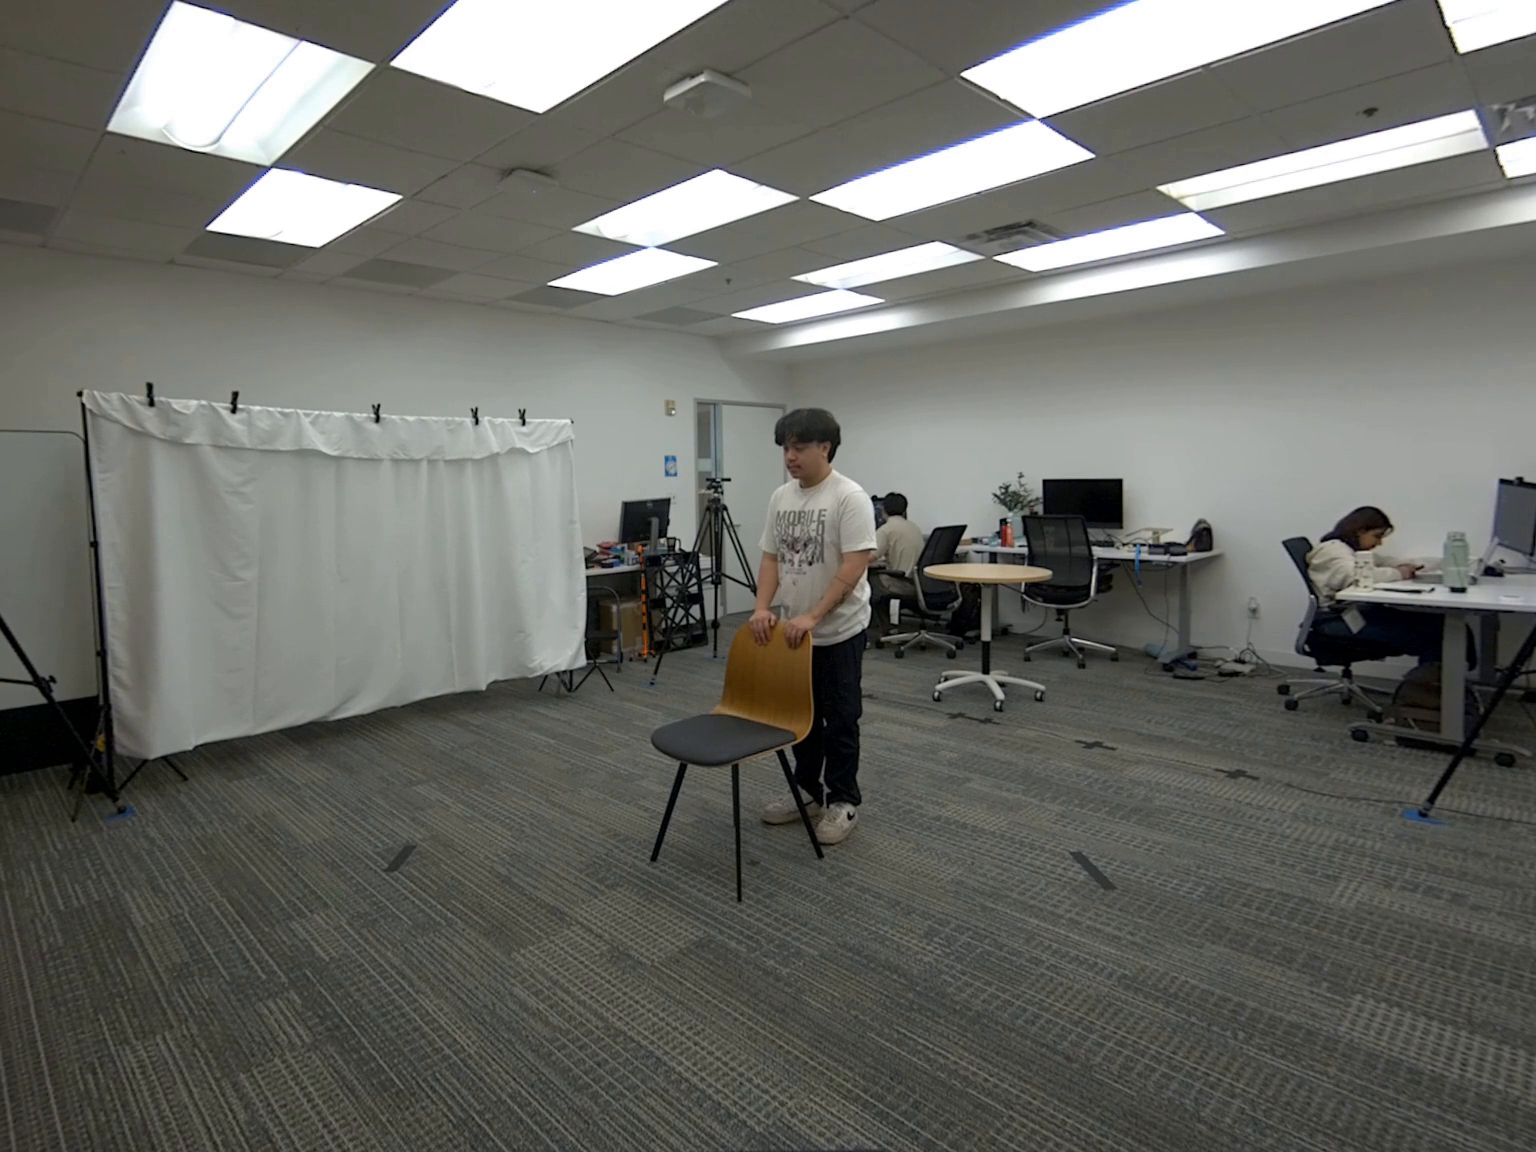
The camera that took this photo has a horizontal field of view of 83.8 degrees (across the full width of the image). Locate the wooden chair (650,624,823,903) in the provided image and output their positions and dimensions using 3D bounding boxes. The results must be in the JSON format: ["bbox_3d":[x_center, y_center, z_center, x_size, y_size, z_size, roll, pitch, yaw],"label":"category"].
[{"bbox_3d":[-0.124,0.620,3.091,0.493,0.876,0.508,4,2,43],"label":"wooden chair"}]
